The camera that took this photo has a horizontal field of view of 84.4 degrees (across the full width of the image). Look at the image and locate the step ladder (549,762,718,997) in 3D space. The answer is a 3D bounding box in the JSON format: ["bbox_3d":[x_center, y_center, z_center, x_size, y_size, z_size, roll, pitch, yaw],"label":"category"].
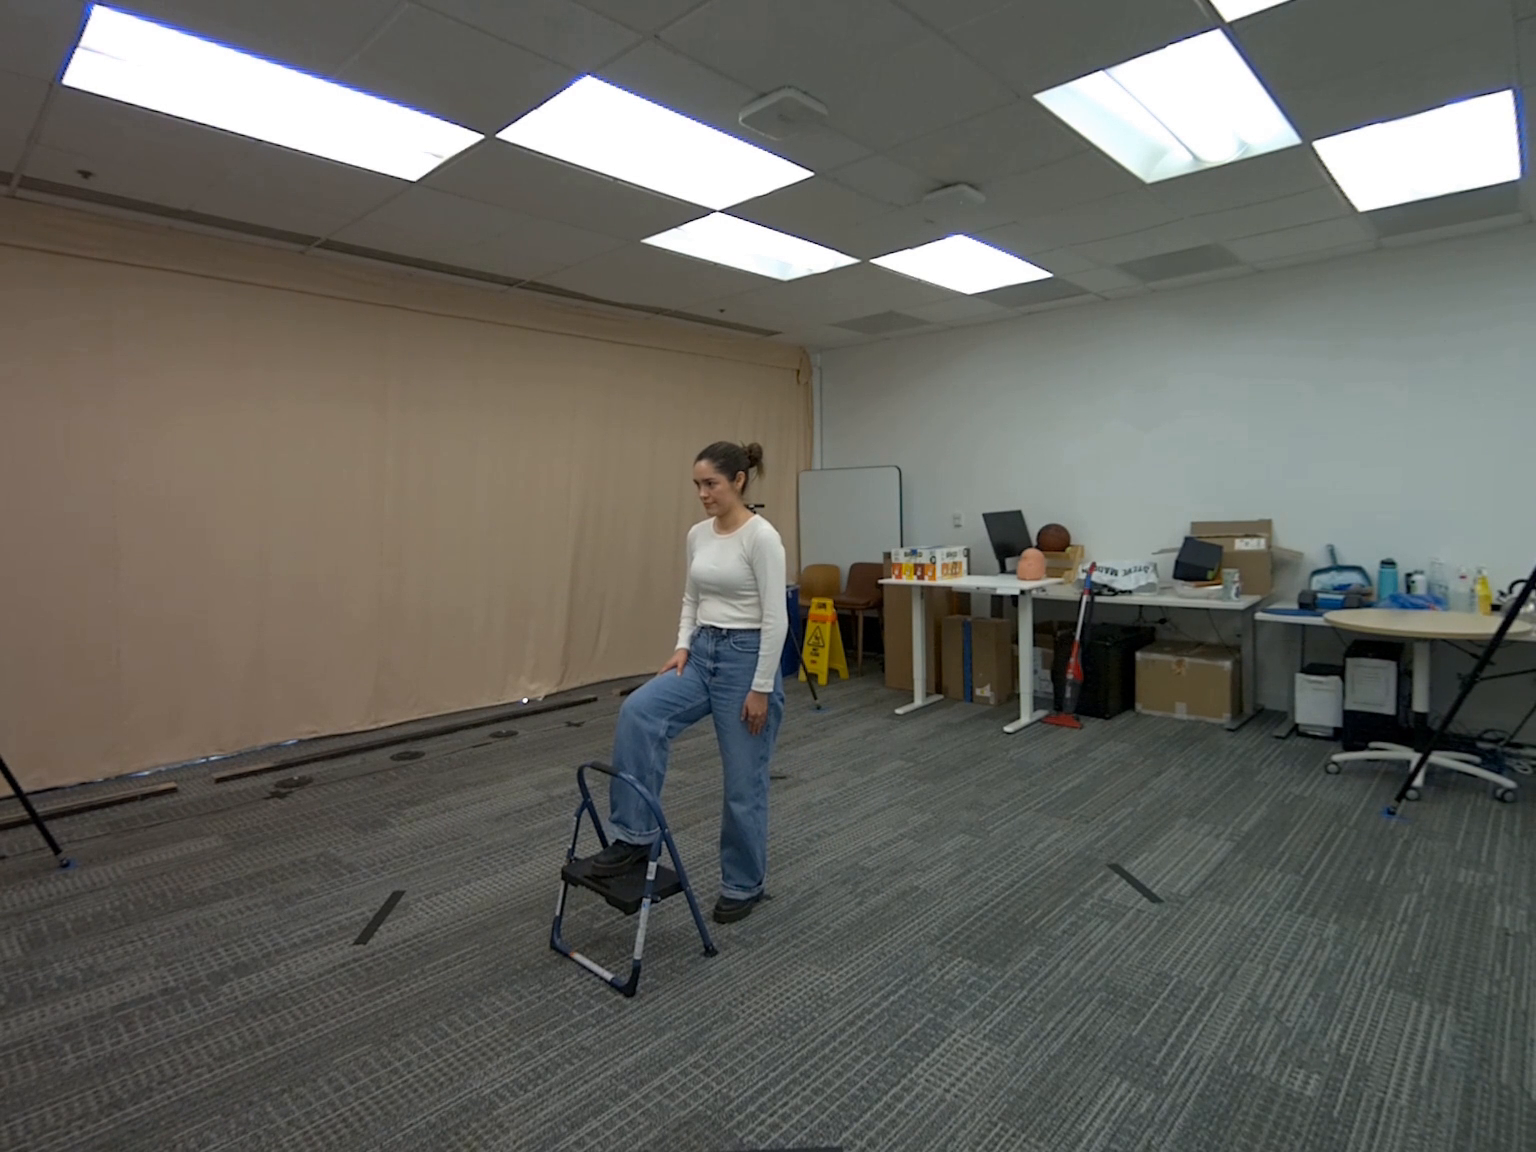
[{"bbox_3d":[-0.433,0.878,2.631,0.445,0.605,0.339,2,4,43],"label":"step ladder"}]
